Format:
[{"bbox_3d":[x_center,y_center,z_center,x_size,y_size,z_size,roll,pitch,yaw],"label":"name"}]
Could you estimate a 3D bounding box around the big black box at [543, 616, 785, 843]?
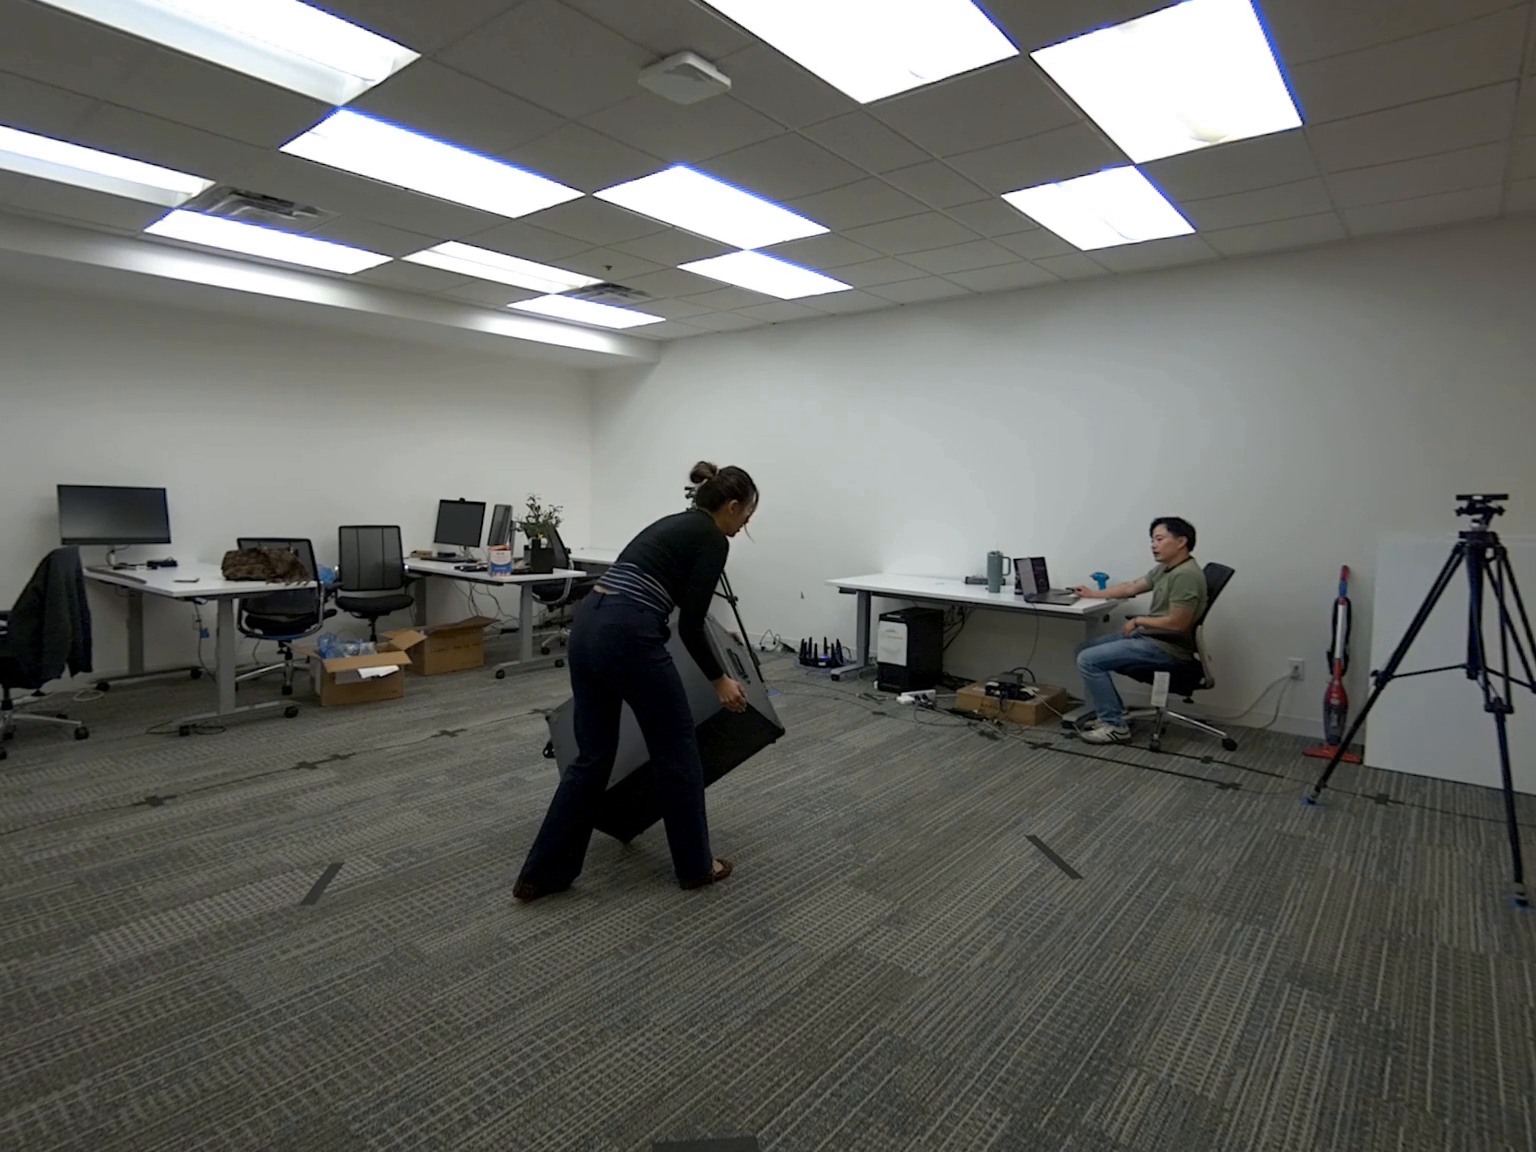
[{"bbox_3d":[-0.454,0.603,3.337,0.863,0.543,0.379,-36,-43,7],"label":"big black box"}]
